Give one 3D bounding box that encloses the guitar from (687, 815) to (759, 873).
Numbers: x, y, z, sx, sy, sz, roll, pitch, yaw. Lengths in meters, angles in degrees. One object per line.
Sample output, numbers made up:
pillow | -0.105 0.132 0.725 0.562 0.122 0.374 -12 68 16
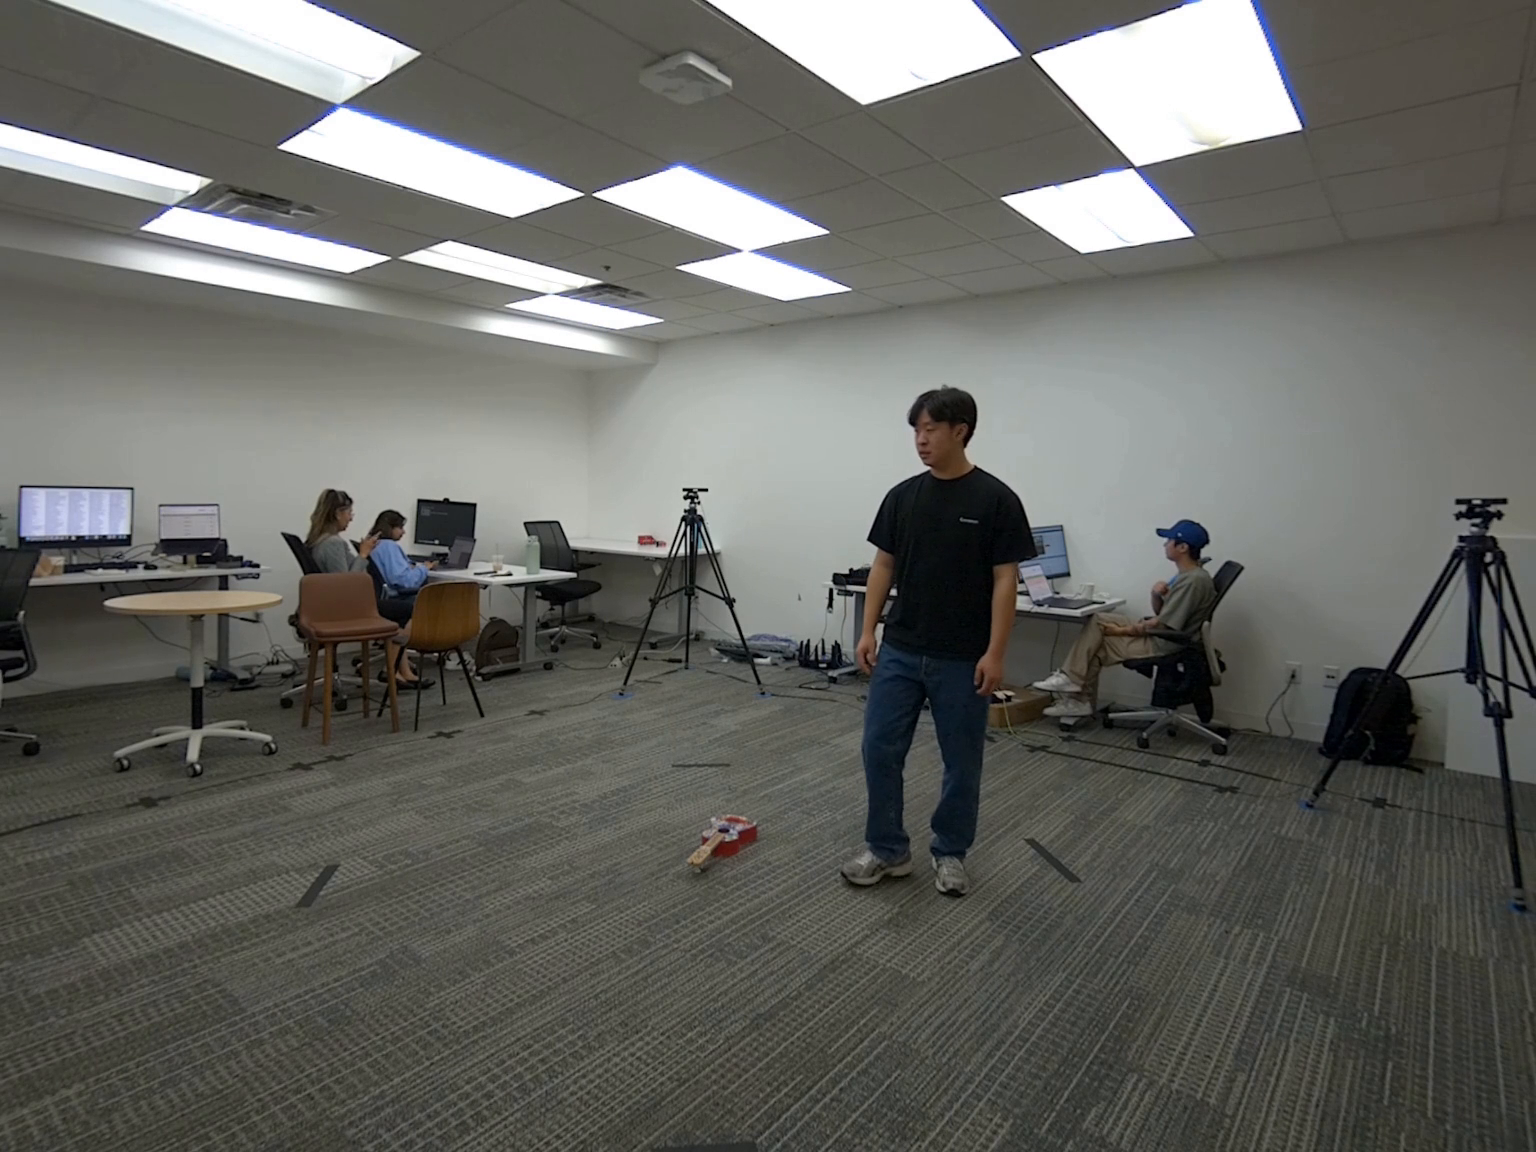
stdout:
guitar | -0.228 1.022 3.264 0.198 0.070 0.485 3 6 28
